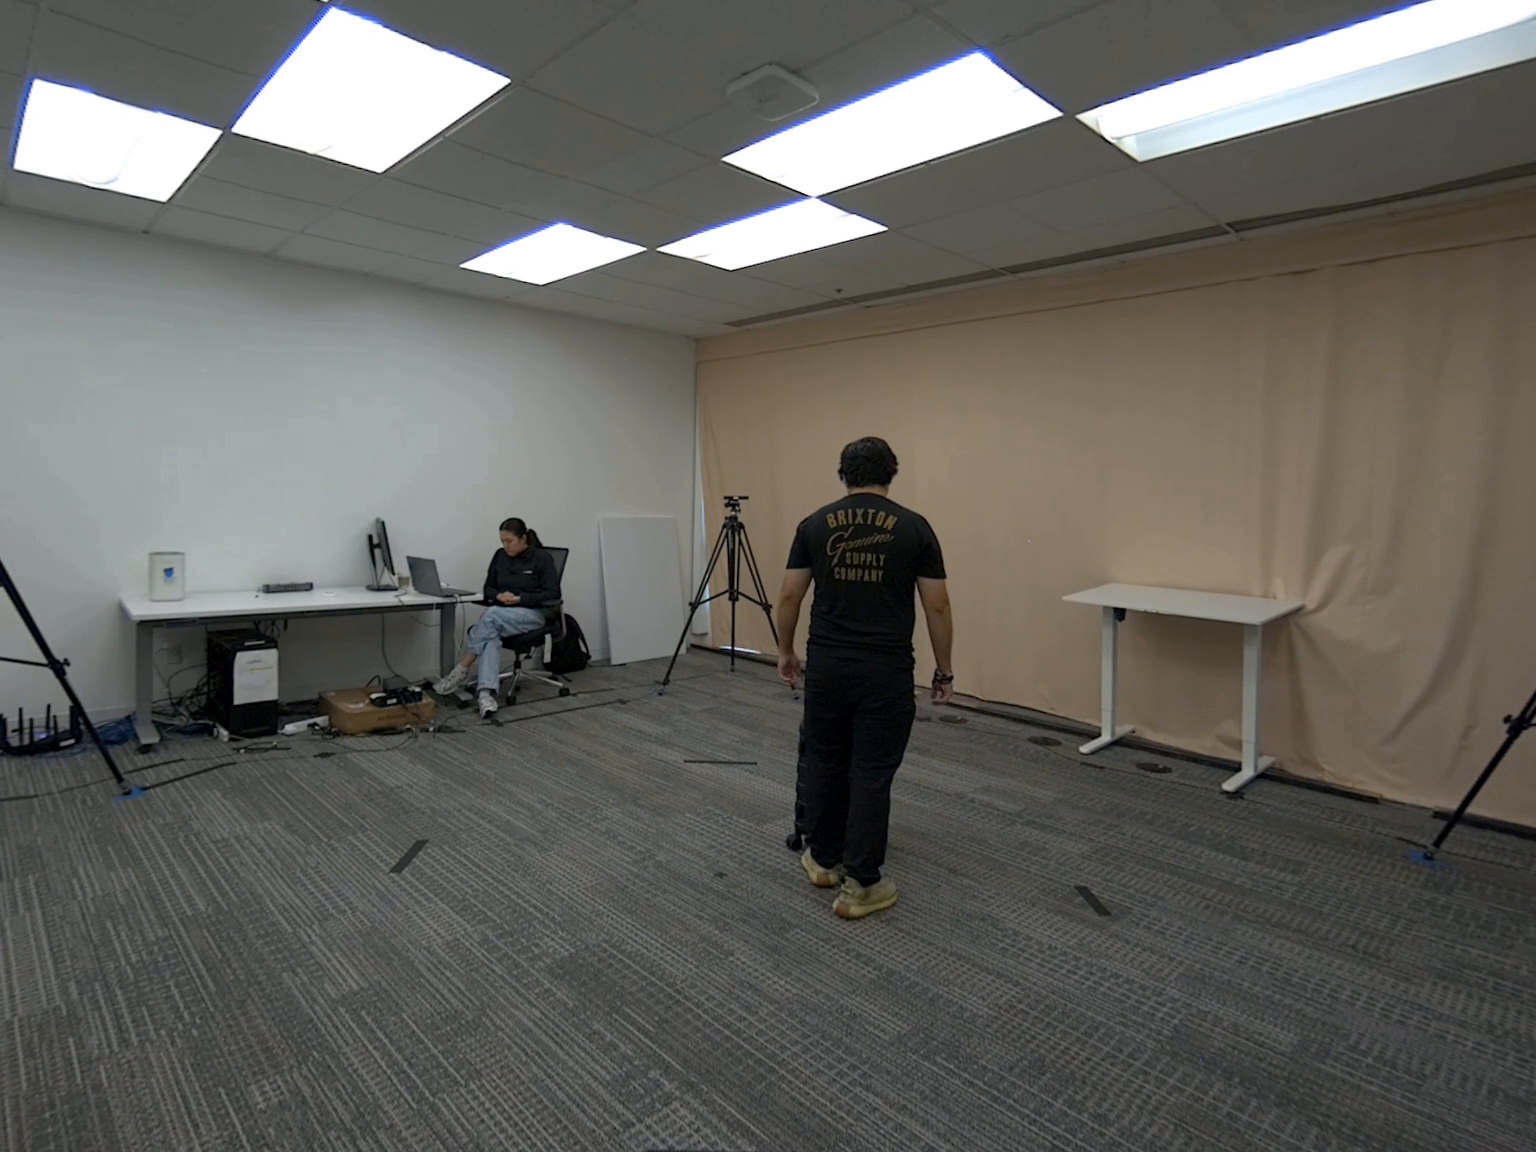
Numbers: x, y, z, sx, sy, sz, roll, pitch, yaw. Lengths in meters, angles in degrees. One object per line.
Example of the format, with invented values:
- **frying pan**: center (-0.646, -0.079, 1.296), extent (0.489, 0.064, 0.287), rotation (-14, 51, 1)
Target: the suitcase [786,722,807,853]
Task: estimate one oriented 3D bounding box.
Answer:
- **suitcase**: center (0.317, 0.614, 3.377), extent (0.264, 0.976, 0.375), rotation (8, 5, 40)
